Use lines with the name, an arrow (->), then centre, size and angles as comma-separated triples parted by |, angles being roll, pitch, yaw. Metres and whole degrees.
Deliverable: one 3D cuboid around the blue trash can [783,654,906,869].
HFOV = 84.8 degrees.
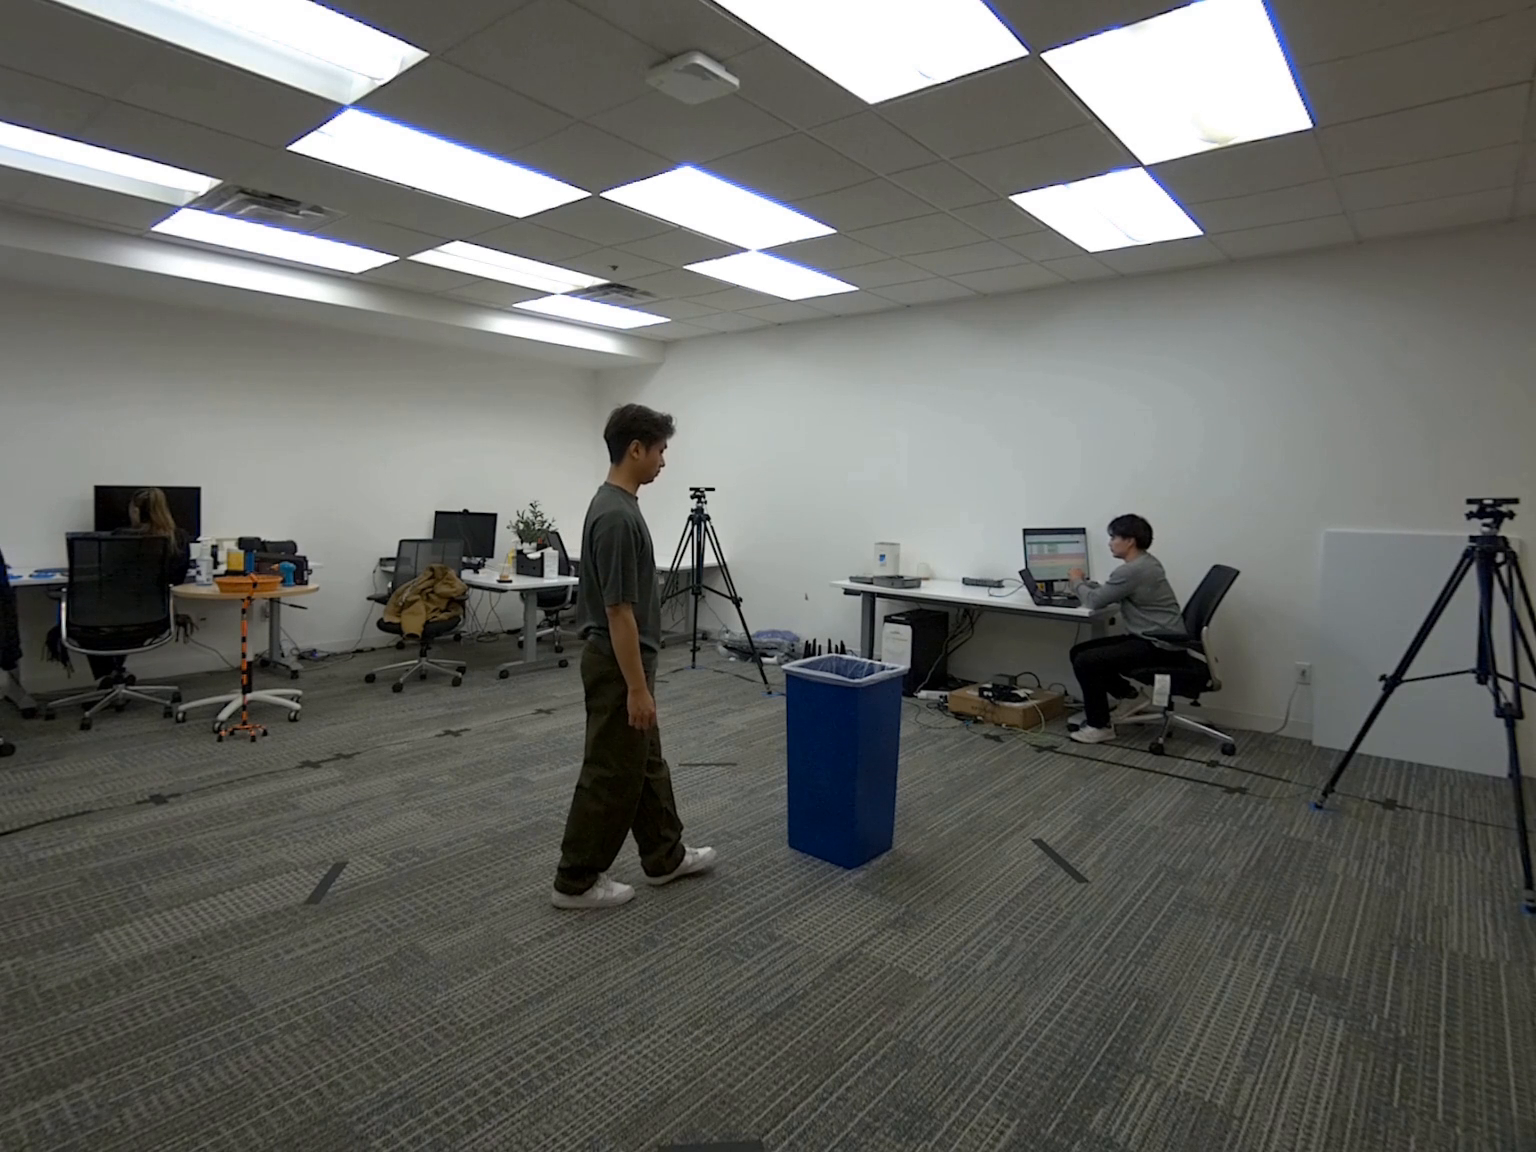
blue trash can -> 0.282, 0.700, 3.303 | 0.391, 0.712, 0.363 | 4, 4, 40
